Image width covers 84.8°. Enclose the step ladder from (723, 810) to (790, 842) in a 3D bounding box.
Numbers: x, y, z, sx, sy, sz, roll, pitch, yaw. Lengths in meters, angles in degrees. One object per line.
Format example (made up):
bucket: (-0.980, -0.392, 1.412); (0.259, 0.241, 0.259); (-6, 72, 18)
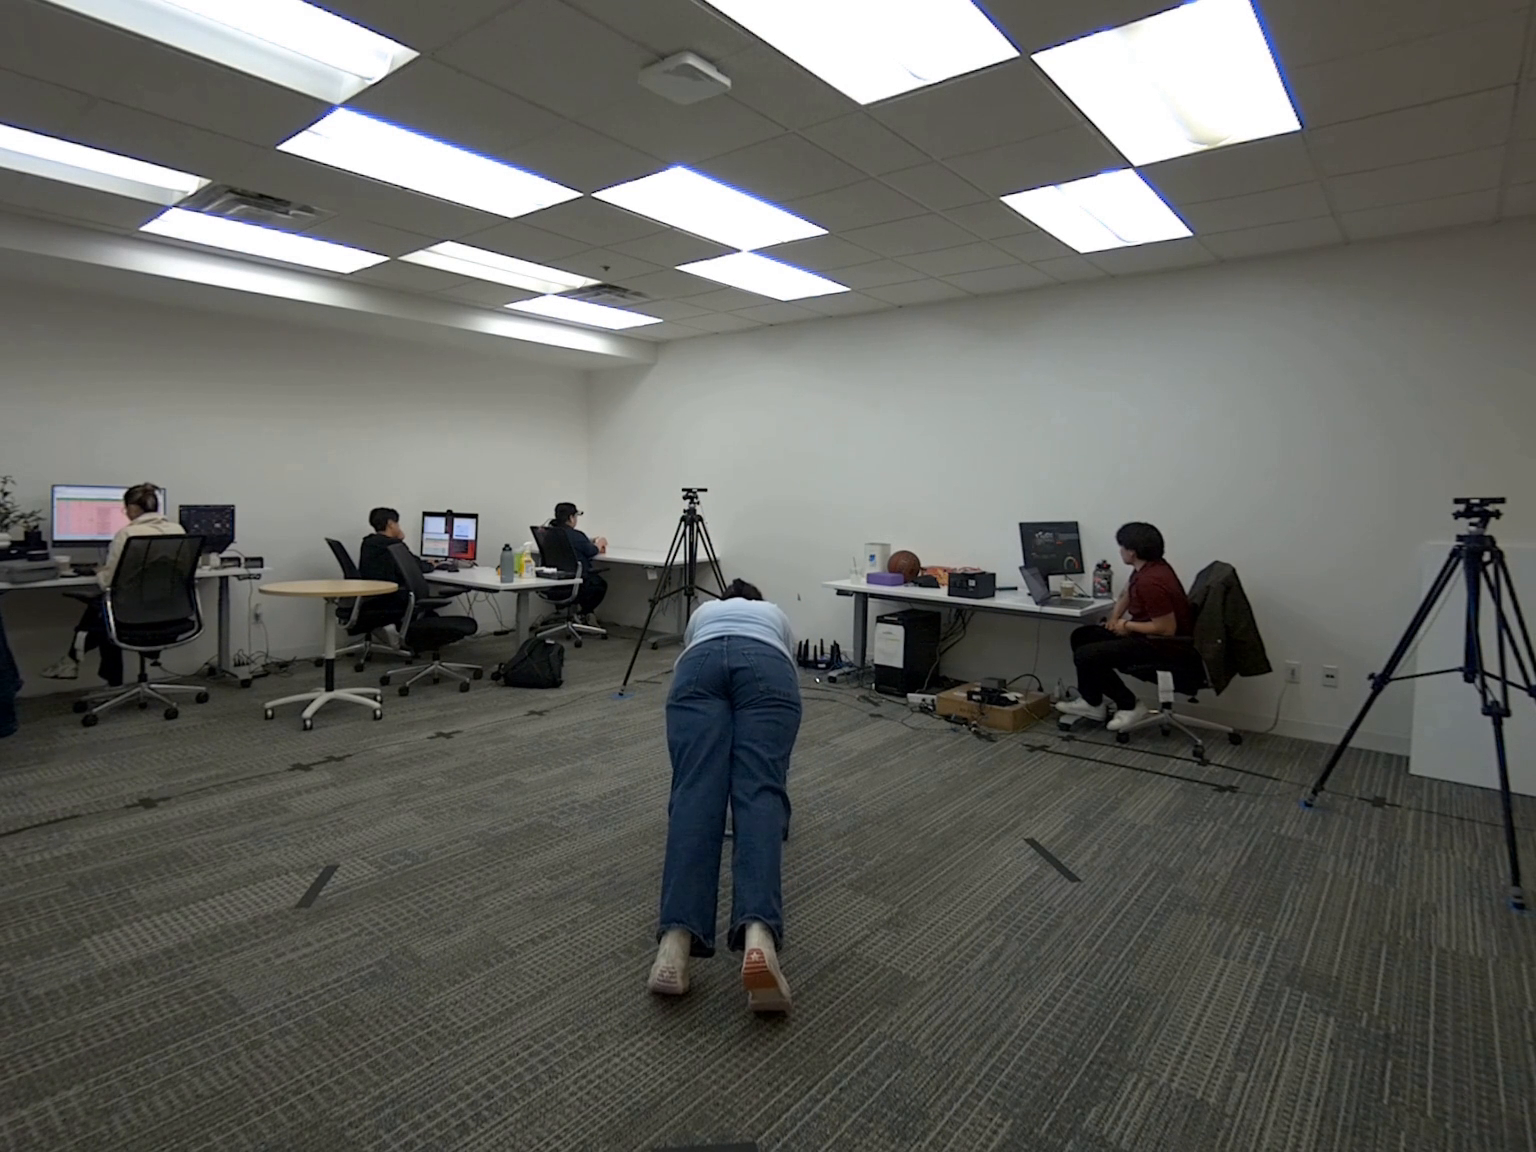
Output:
step ladder: (-0.123, 0.722, 3.548); (0.433, 0.604, 0.349); (1, 3, 3)
